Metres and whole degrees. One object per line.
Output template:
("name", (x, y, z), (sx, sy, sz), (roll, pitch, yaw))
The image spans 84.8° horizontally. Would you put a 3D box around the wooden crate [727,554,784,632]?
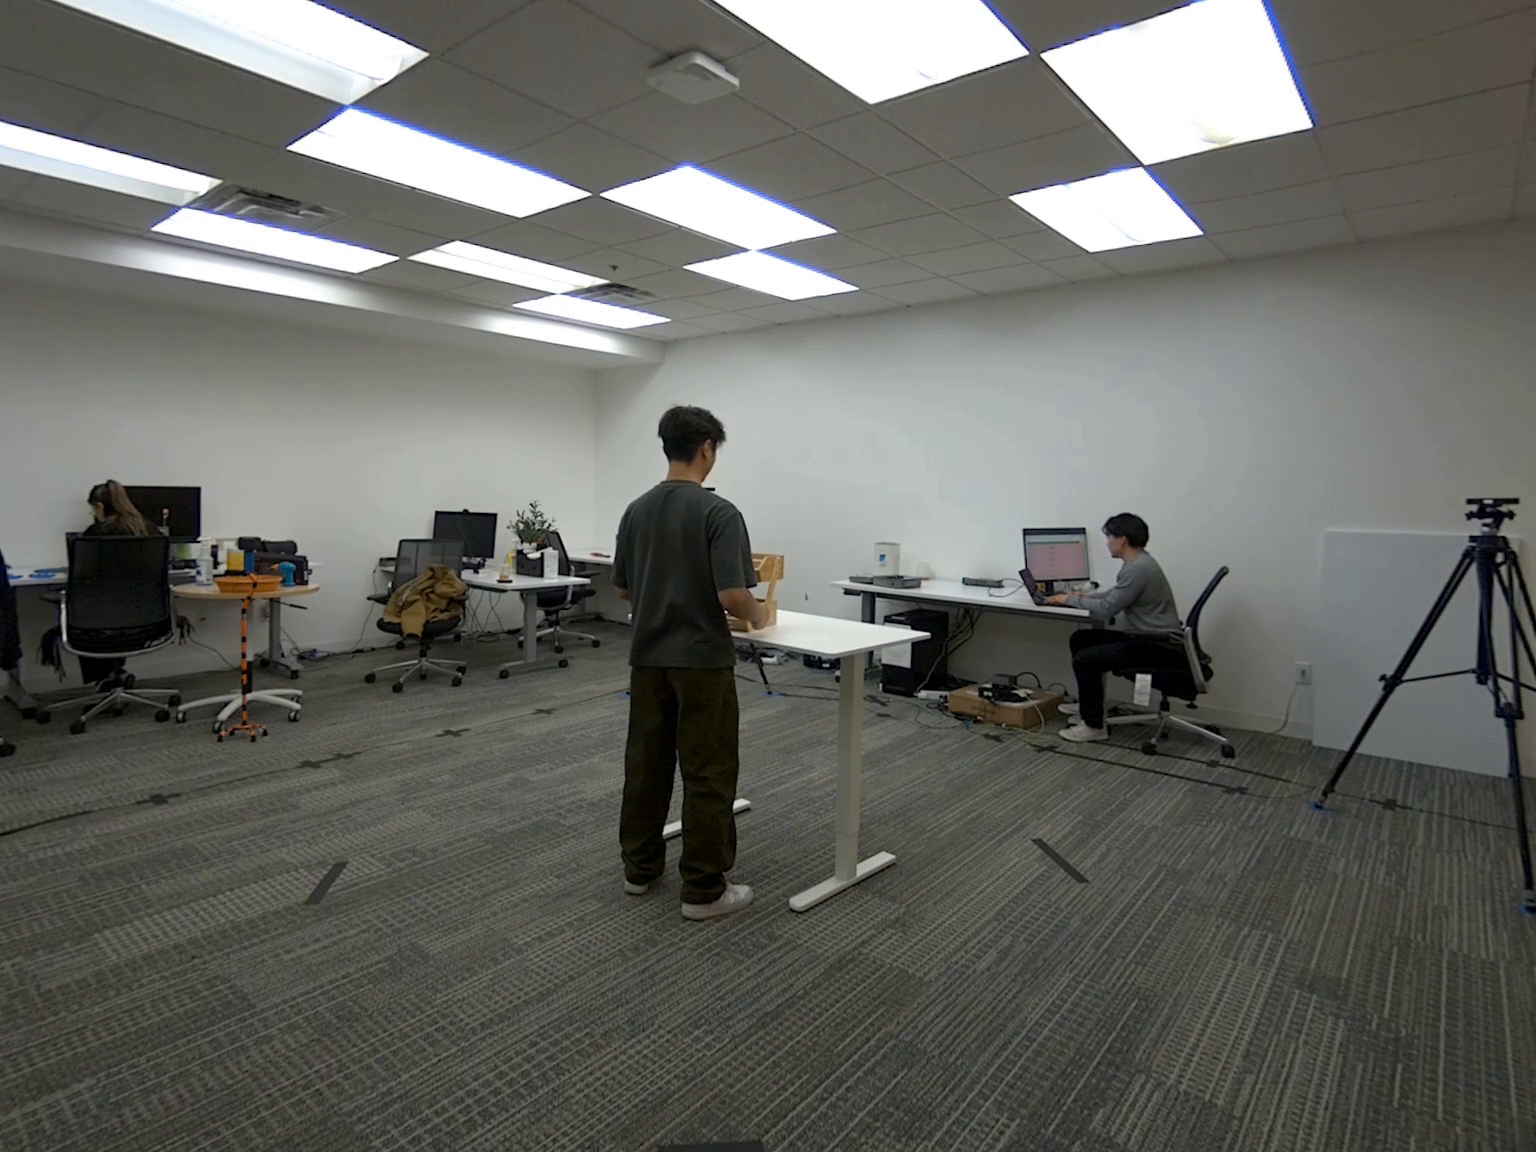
("wooden crate", (-0.151, 0.045, 3.191), (0.333, 0.272, 0.295), (4, 5, 27))
